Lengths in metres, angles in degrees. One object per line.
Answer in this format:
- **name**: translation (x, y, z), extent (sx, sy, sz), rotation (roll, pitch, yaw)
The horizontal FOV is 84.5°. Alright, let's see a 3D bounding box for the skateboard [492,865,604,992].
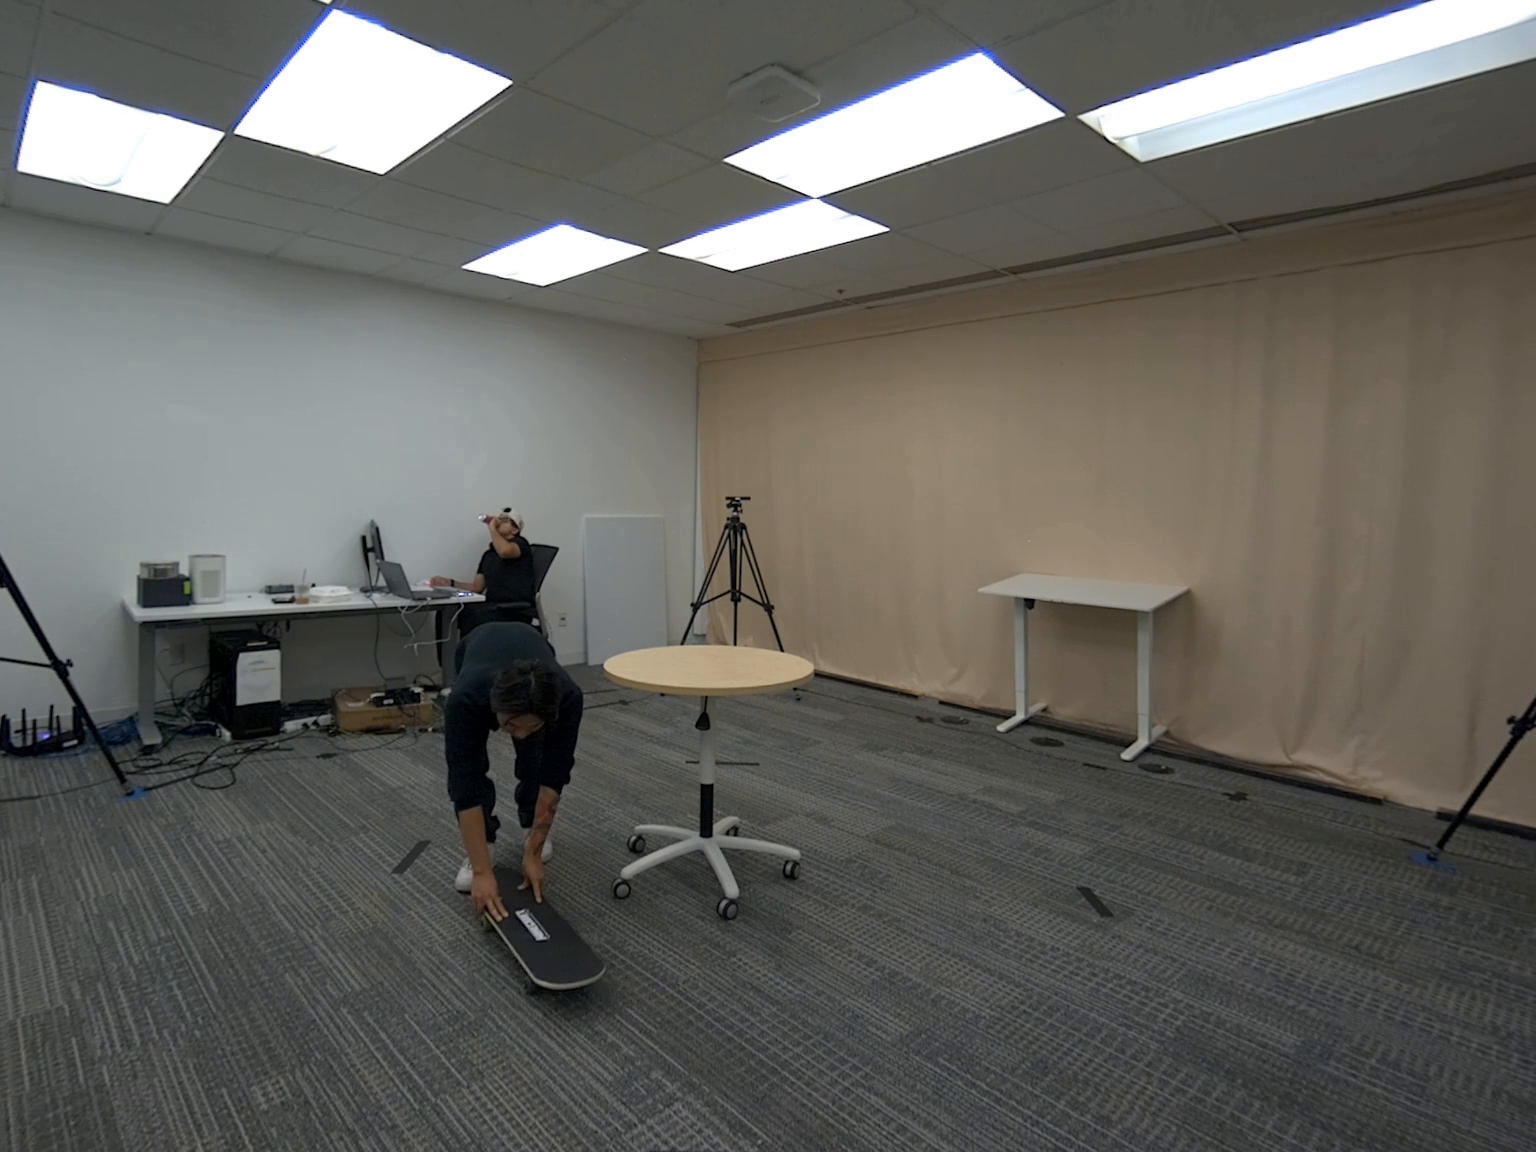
- **skateboard**: translation (-0.724, 1.092, 2.552), extent (0.189, 0.110, 0.804), rotation (-2, 6, -34)
